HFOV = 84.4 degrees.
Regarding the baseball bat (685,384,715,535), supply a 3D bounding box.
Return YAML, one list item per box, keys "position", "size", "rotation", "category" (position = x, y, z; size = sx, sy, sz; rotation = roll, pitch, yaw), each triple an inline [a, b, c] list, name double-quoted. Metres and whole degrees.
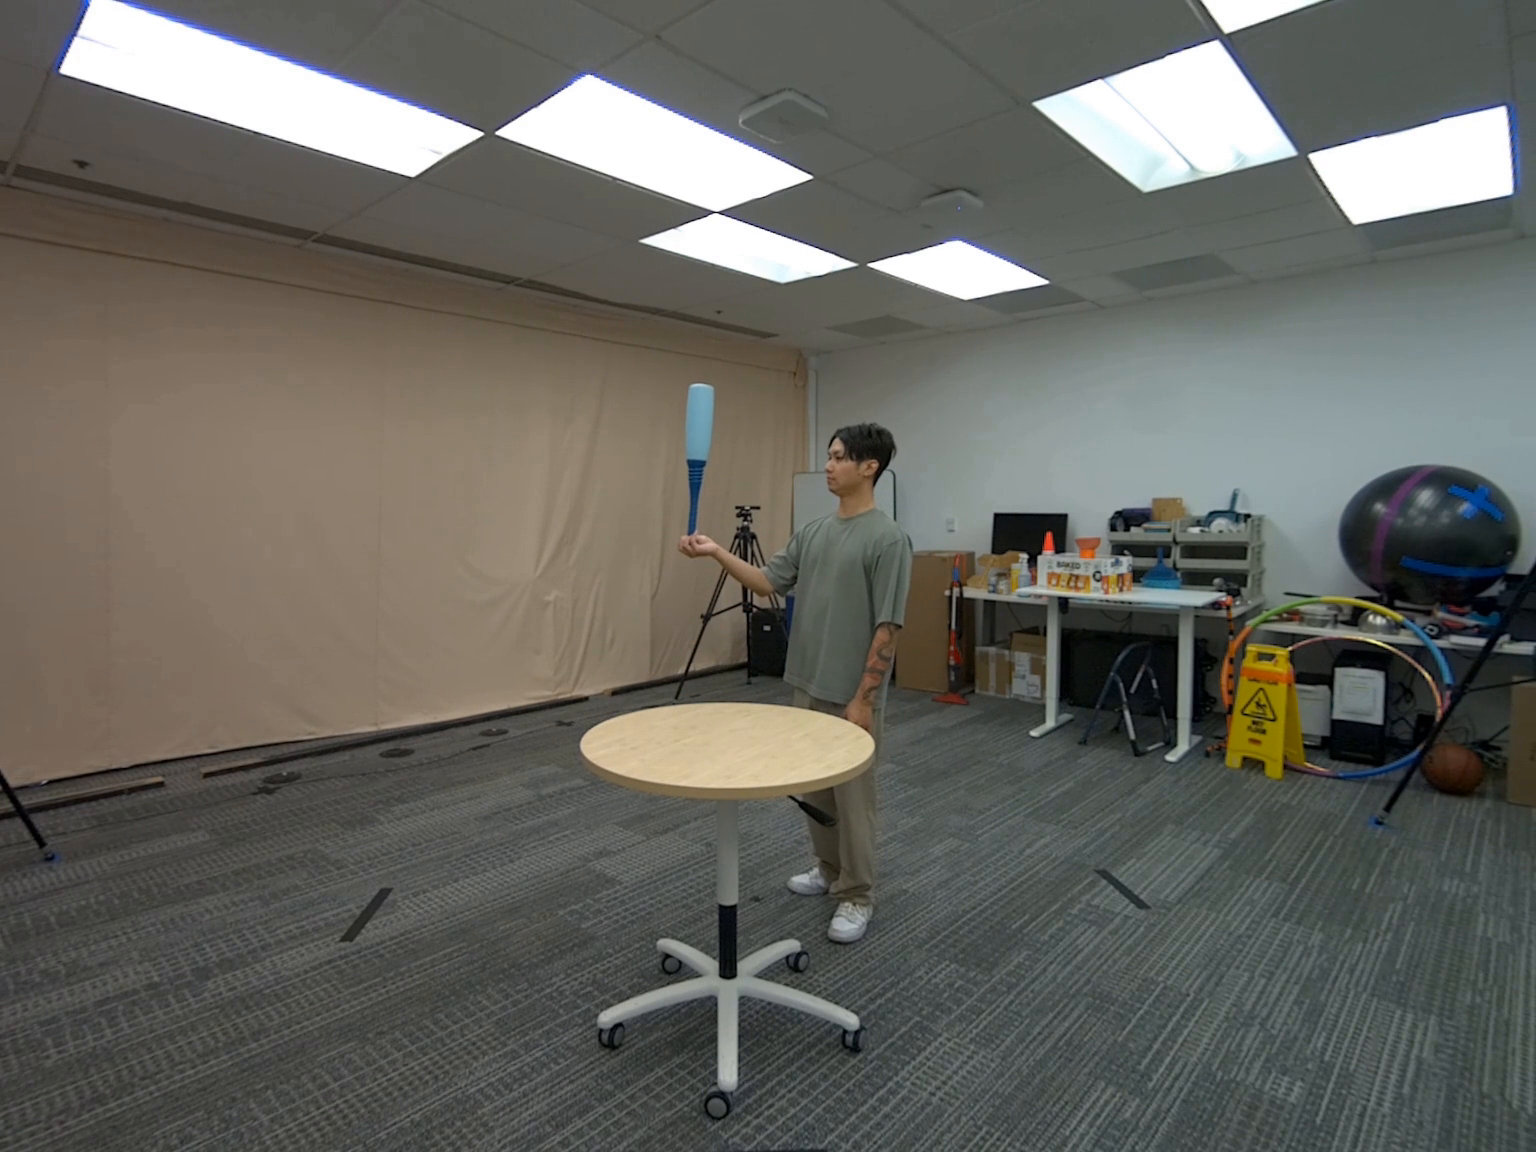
- position: [-0.232, -0.366, 2.793]
  size: [0.089, 0.542, 0.089]
  rotation: [5, 2, -2]
  category: "baseball bat"
